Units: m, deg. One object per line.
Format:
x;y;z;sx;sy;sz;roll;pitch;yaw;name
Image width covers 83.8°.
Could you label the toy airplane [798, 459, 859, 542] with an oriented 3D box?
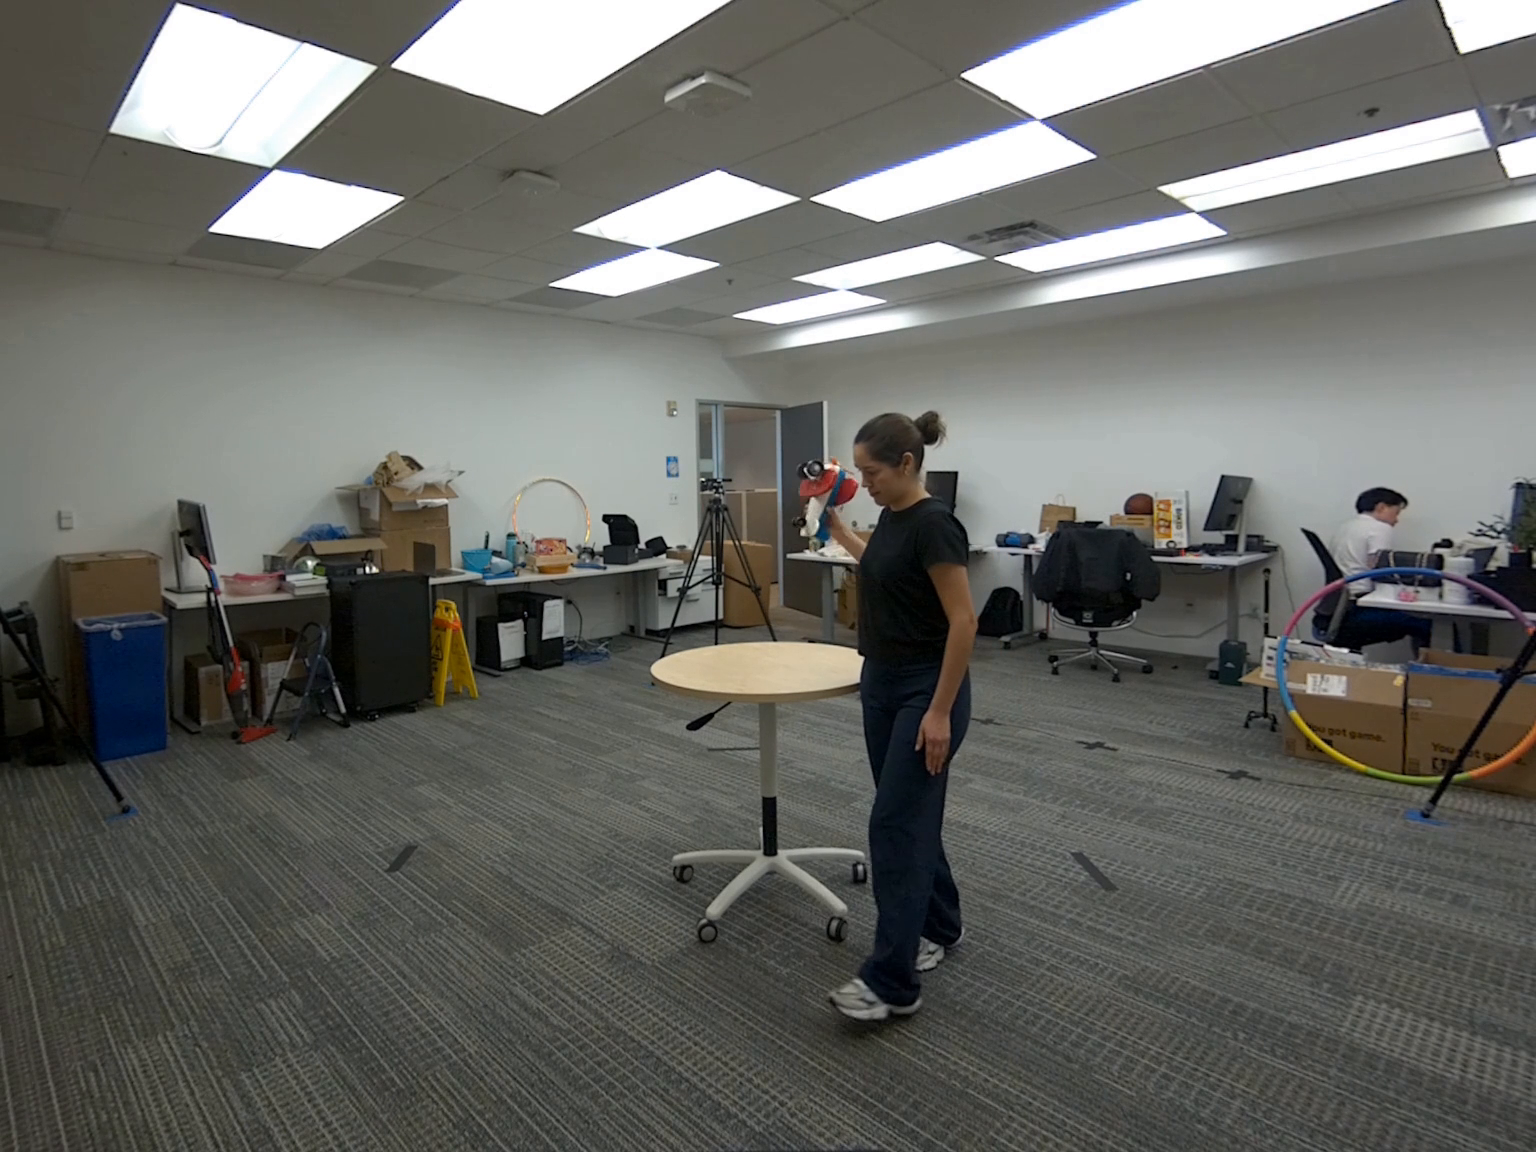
0.145;-0.243;2.791;0.153;0.256;0.259;11;24;-20;toy airplane
